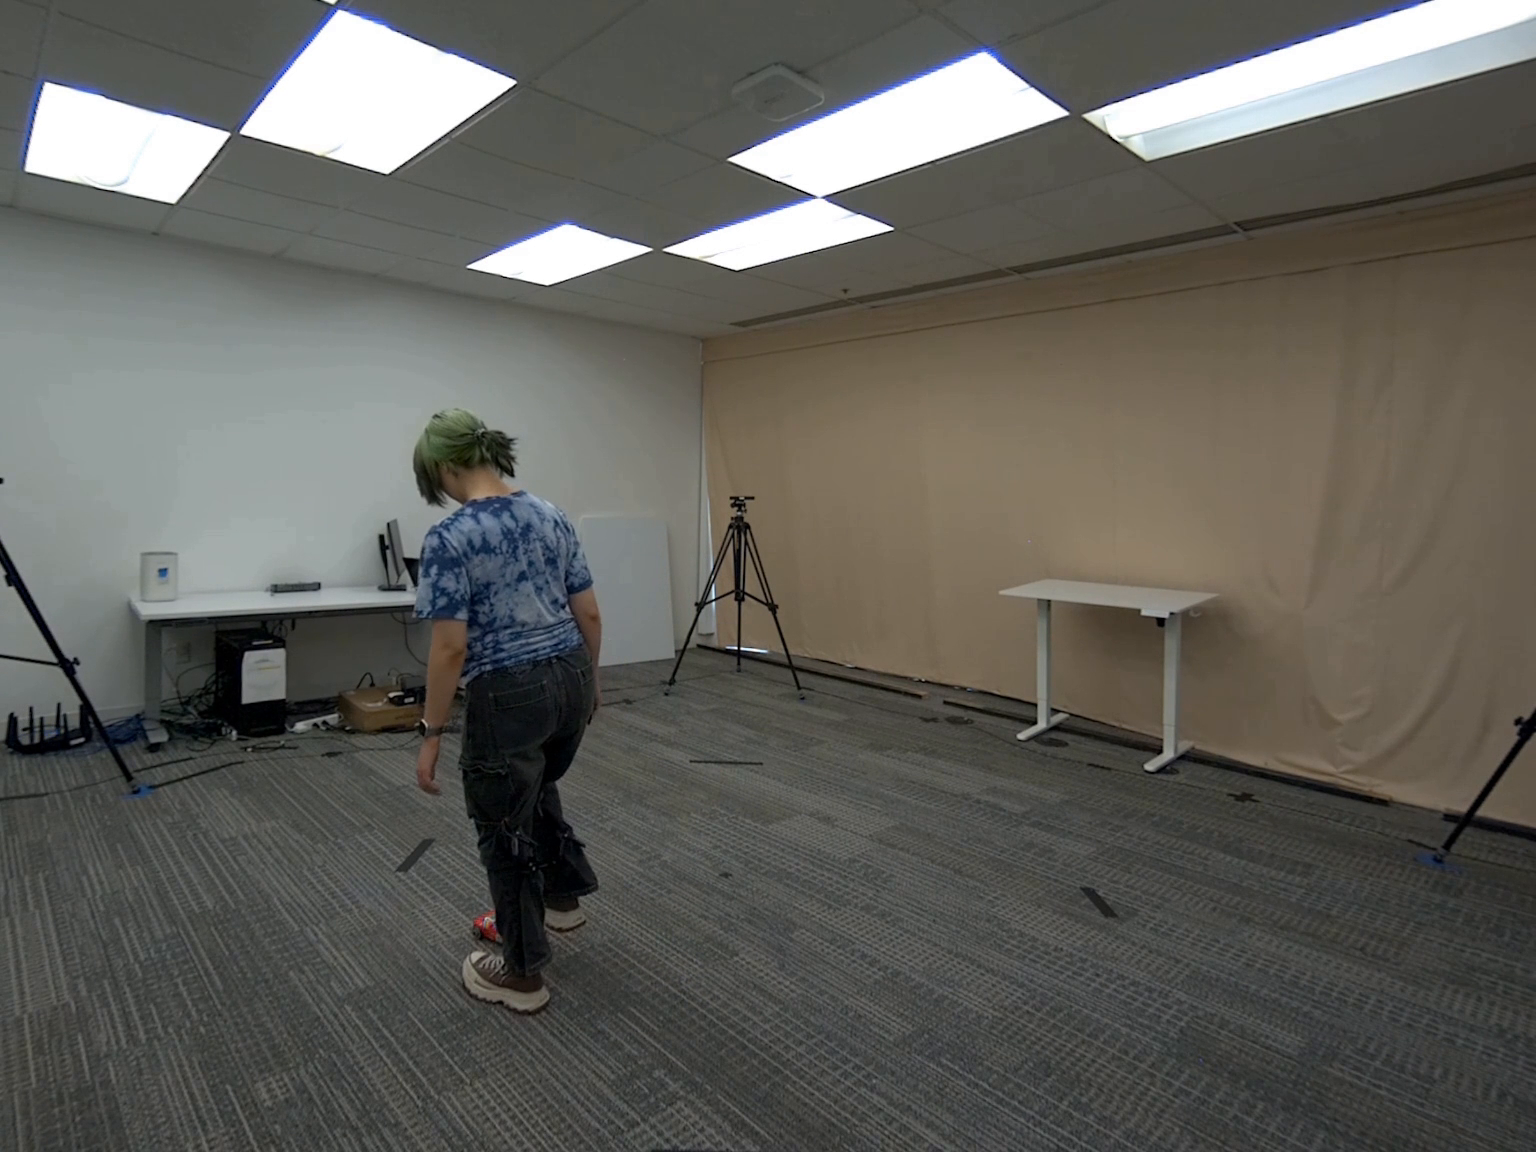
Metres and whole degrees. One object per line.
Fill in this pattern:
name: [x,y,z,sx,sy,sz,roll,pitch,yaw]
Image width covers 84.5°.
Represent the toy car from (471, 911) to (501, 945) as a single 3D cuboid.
toy car: [-0.805,1.109,2.605,0.259,0.083,0.127,-8,-2,34]
